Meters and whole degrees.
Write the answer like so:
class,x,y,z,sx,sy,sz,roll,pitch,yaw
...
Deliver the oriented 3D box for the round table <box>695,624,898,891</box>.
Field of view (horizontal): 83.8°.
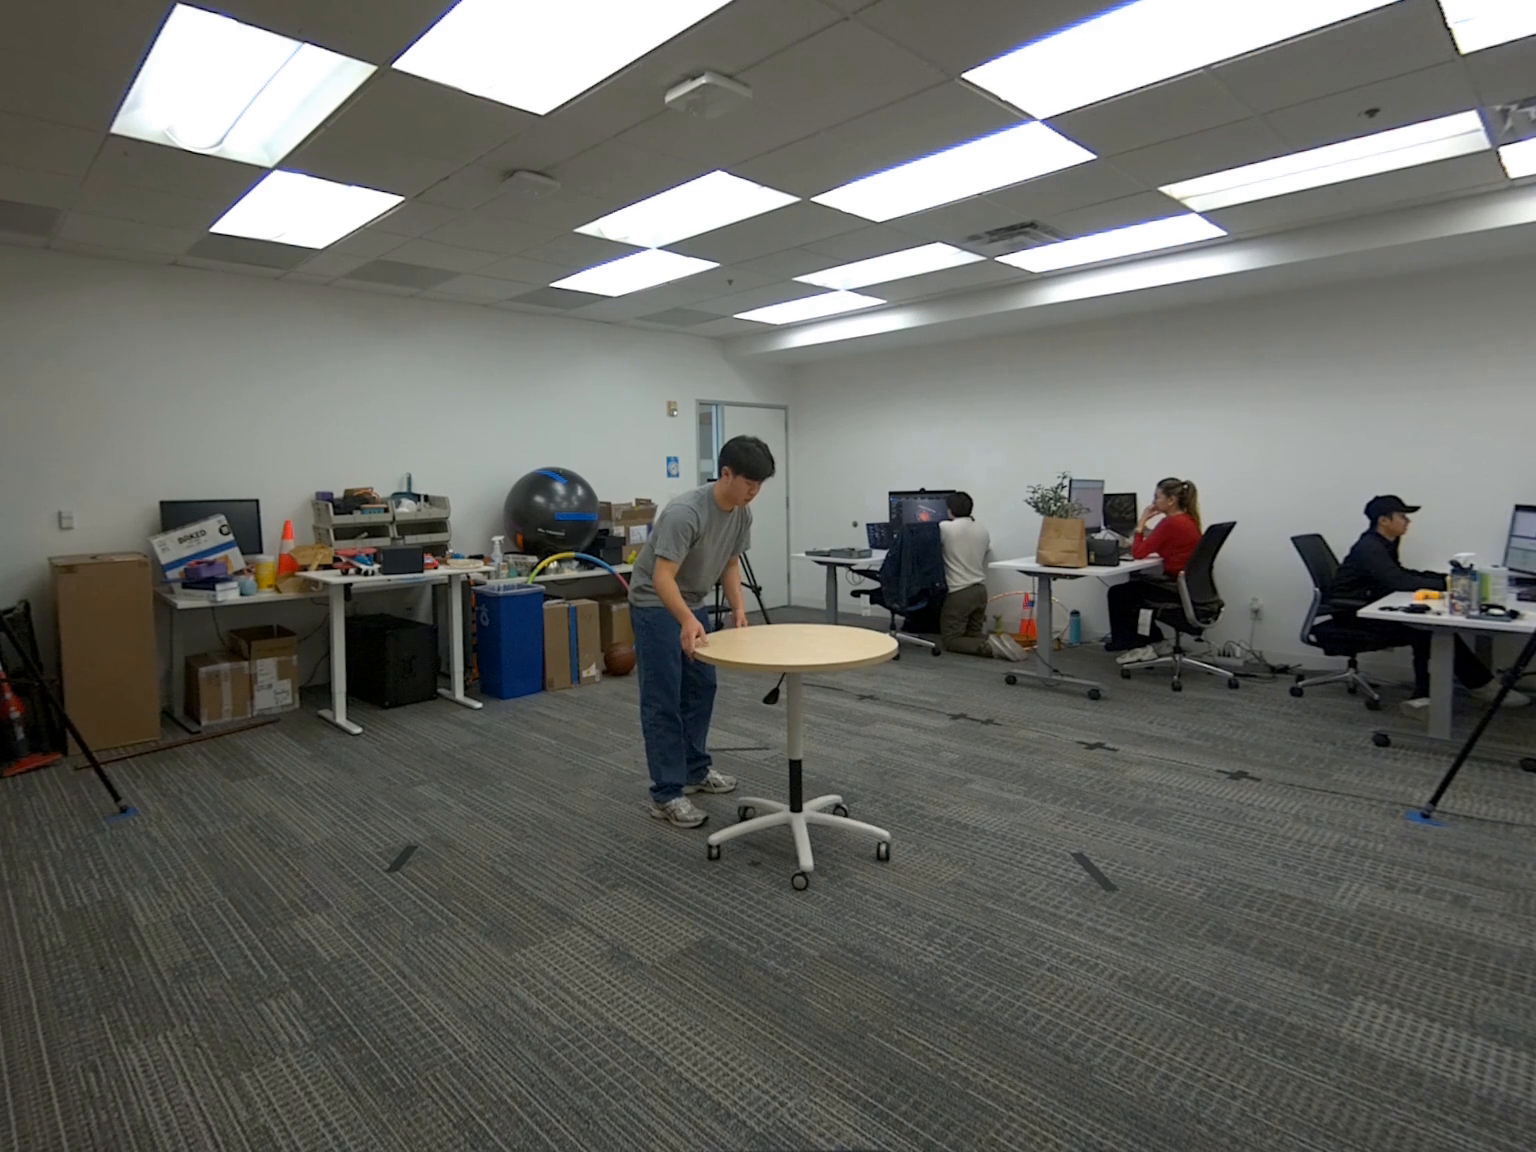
class,x,y,z,sx,sy,sz,roll,pitch,yaw
round table,0.101,0.639,3.217,0.763,0.791,0.768,-1,5,-2
